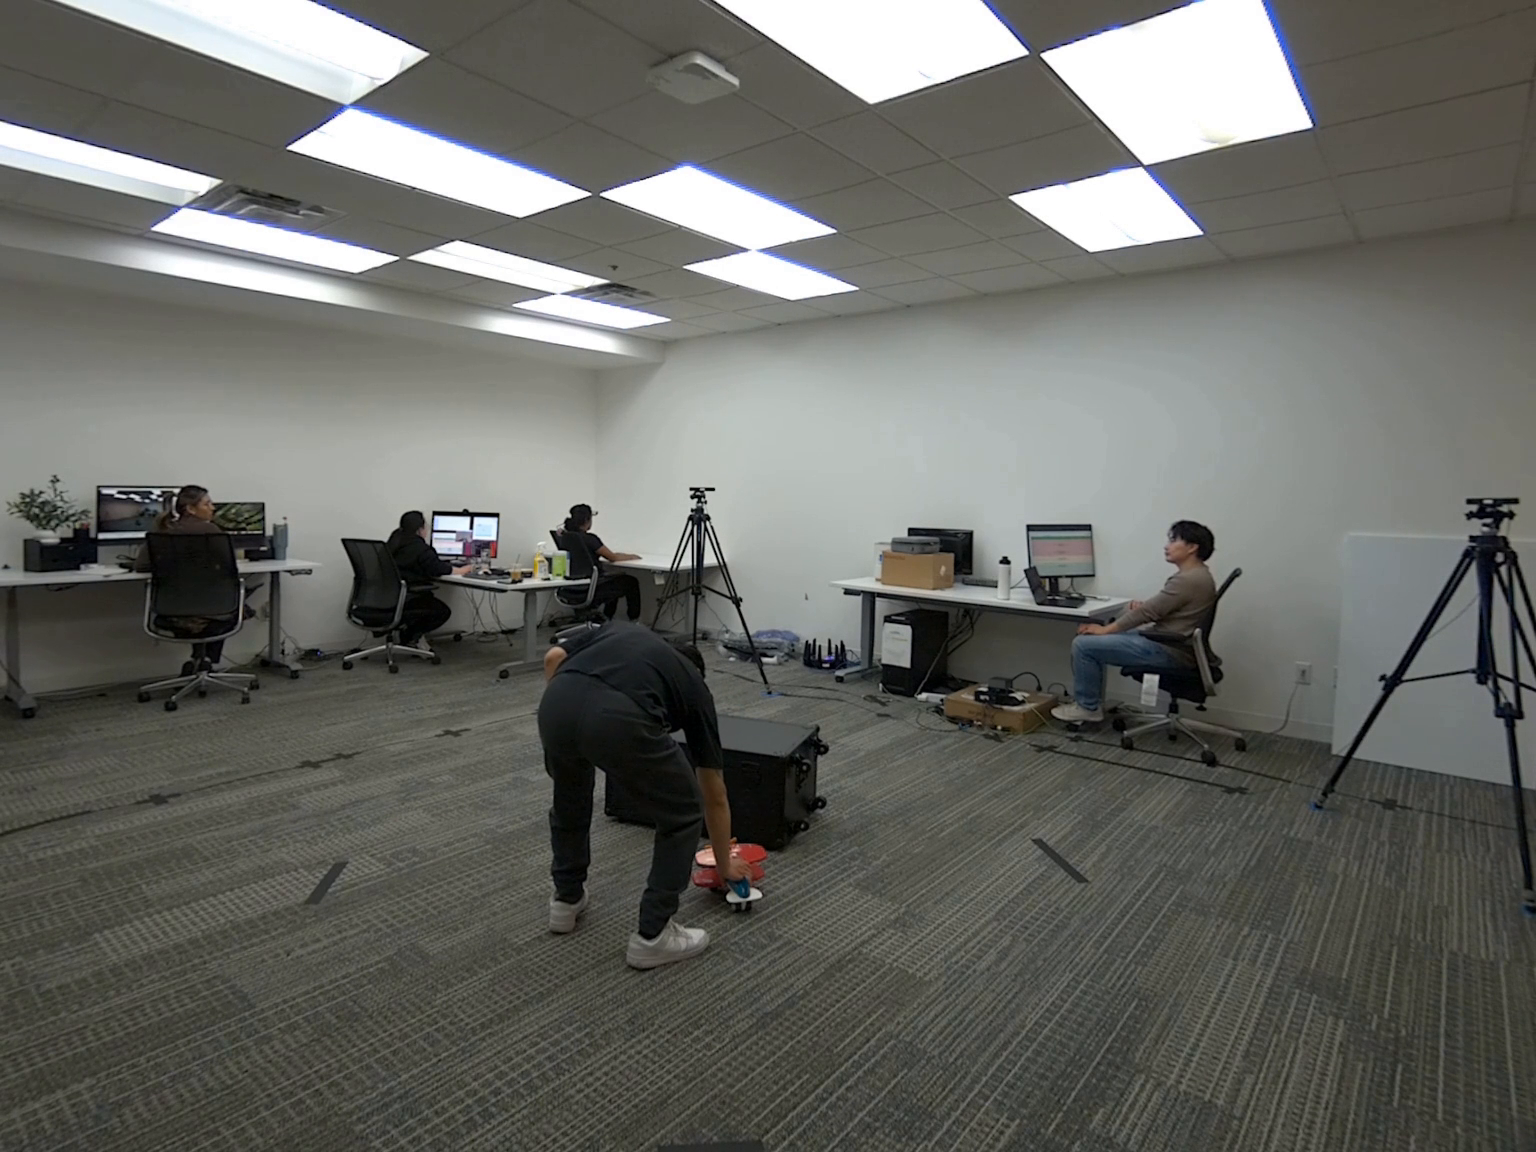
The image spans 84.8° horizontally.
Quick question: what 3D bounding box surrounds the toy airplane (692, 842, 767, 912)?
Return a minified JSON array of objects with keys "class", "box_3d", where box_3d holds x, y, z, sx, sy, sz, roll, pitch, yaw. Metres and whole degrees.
[{"class":"toy airplane","box_3d":[-0.109,1.014,2.896,0.268,0.156,0.243,5,6,40]}]
